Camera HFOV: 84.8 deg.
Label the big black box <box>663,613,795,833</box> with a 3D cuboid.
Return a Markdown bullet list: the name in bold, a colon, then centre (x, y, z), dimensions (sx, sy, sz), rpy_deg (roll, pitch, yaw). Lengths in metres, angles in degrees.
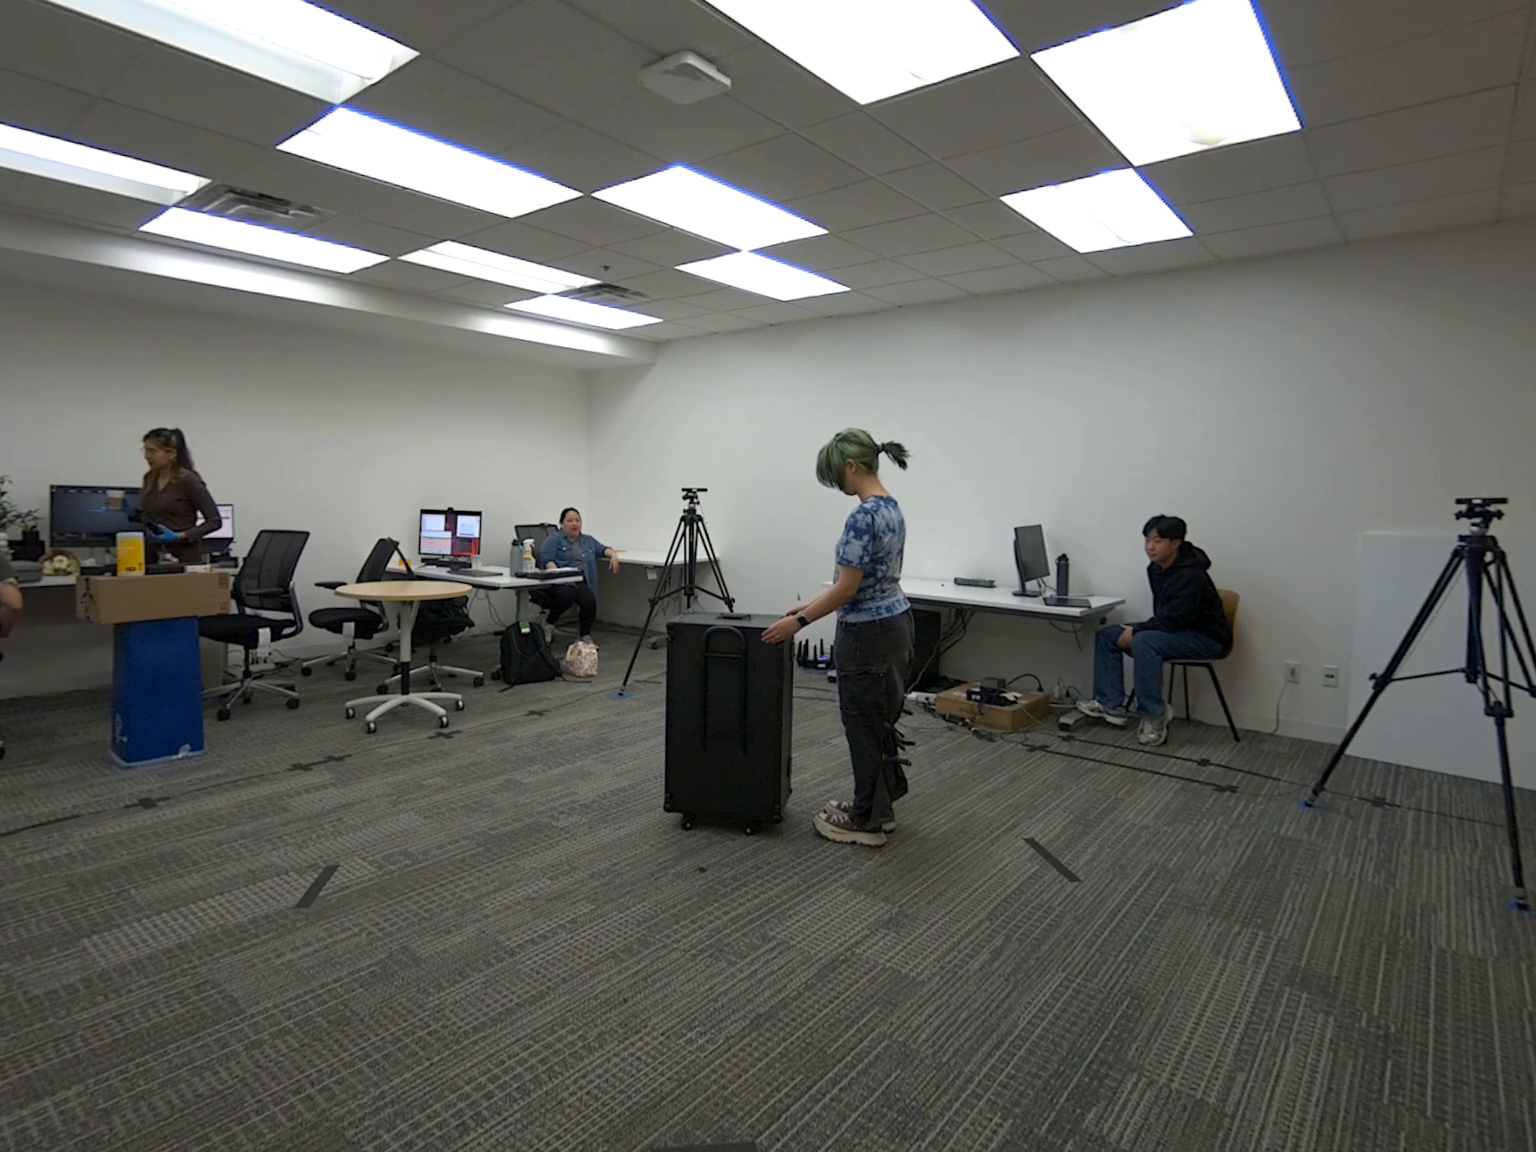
- **big black box**: centre (-0.160, 0.611, 3.566), dimensions (0.528, 0.859, 0.393), rpy_deg (2, 4, 10)
